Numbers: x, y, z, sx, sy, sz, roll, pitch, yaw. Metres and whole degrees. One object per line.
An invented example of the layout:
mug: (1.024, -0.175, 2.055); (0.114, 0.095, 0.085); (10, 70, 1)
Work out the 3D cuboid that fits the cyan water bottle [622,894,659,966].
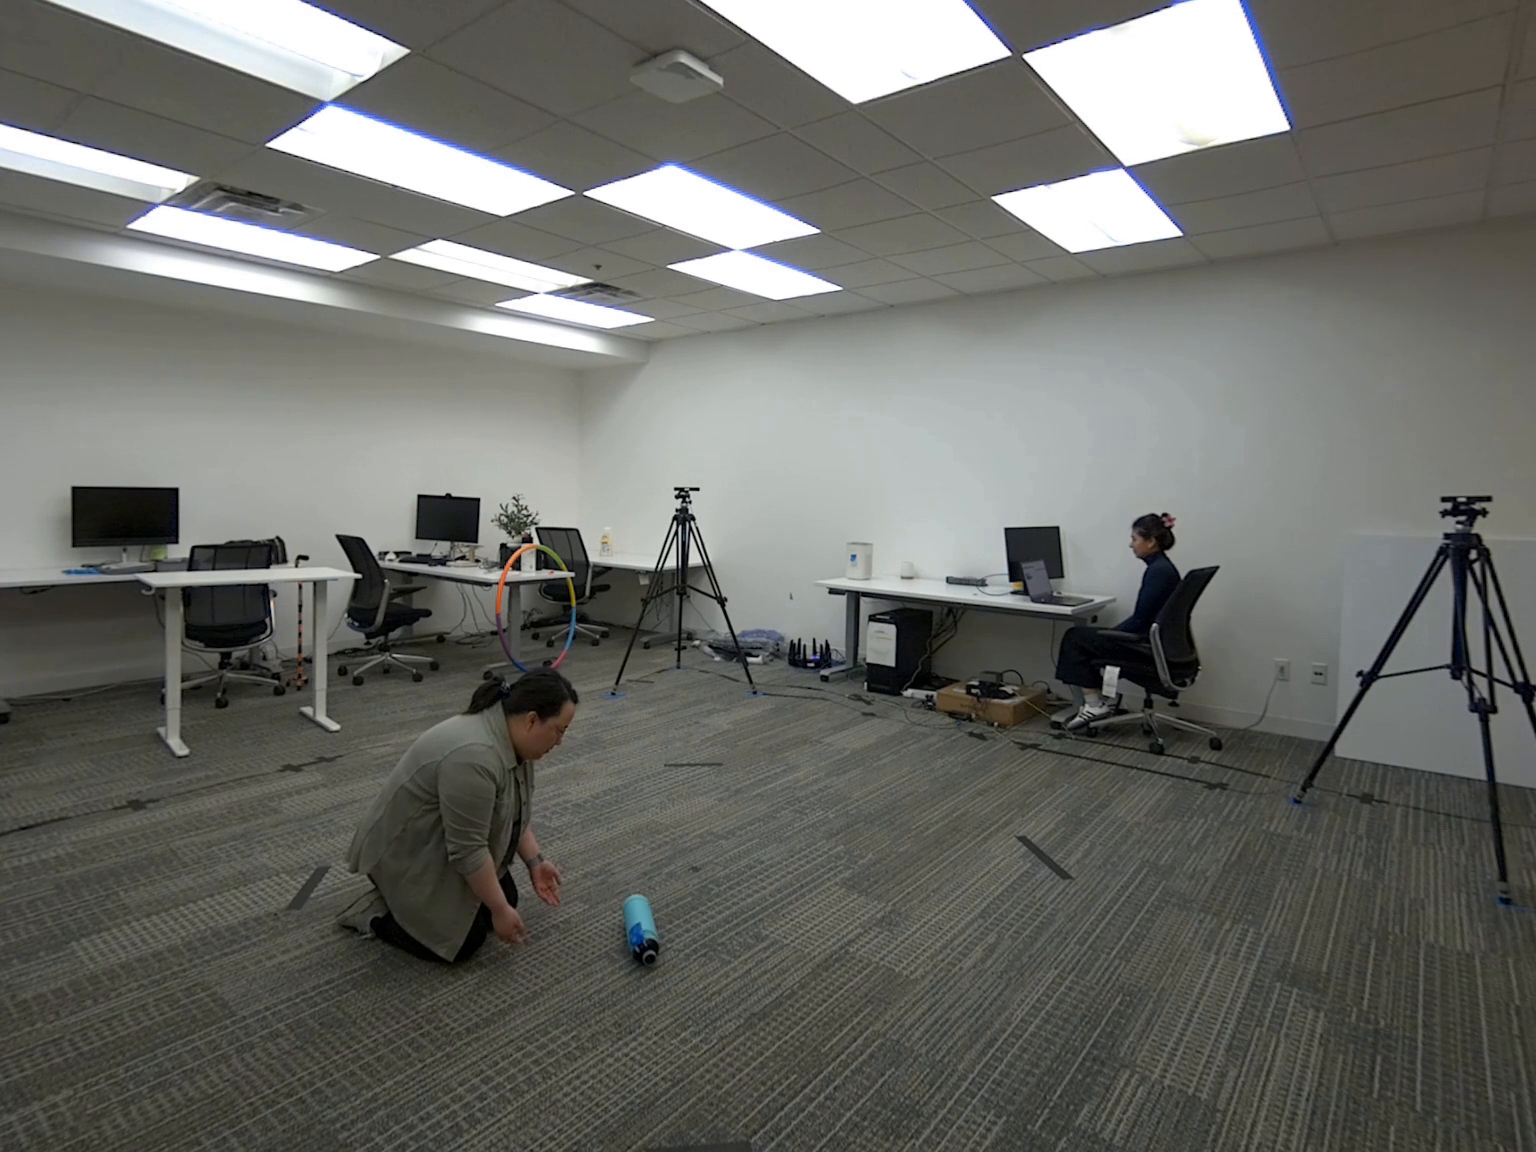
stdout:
cyan water bottle: (-0.397, 1.073, 2.571); (0.091, 0.092, 0.289); (0, 6, -14)
